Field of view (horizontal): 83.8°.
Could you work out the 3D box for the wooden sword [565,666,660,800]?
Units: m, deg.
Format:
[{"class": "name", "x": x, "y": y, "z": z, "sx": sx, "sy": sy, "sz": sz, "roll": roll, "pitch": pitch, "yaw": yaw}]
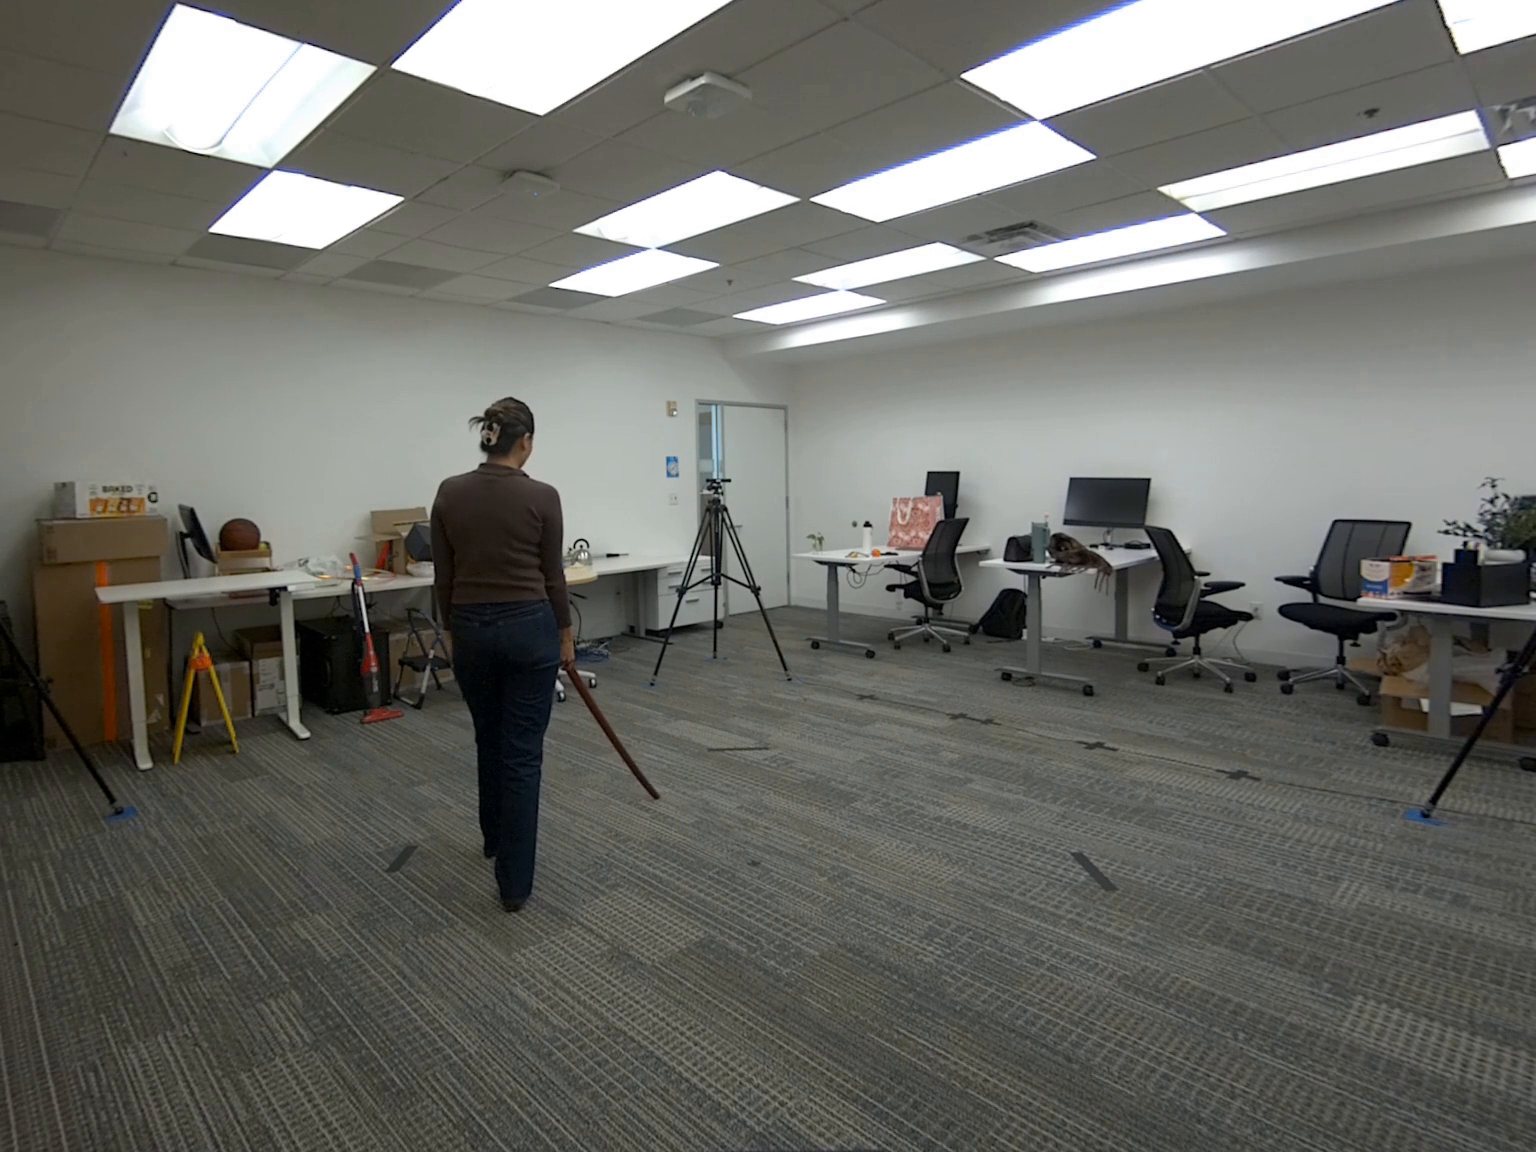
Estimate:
[{"class": "wooden sword", "x": -0.636, "y": 0.628, "z": 3.465, "sx": 0.051, "sy": 0.989, "sz": 0.025, "roll": -17, "pitch": 39, "yaw": 4}]
